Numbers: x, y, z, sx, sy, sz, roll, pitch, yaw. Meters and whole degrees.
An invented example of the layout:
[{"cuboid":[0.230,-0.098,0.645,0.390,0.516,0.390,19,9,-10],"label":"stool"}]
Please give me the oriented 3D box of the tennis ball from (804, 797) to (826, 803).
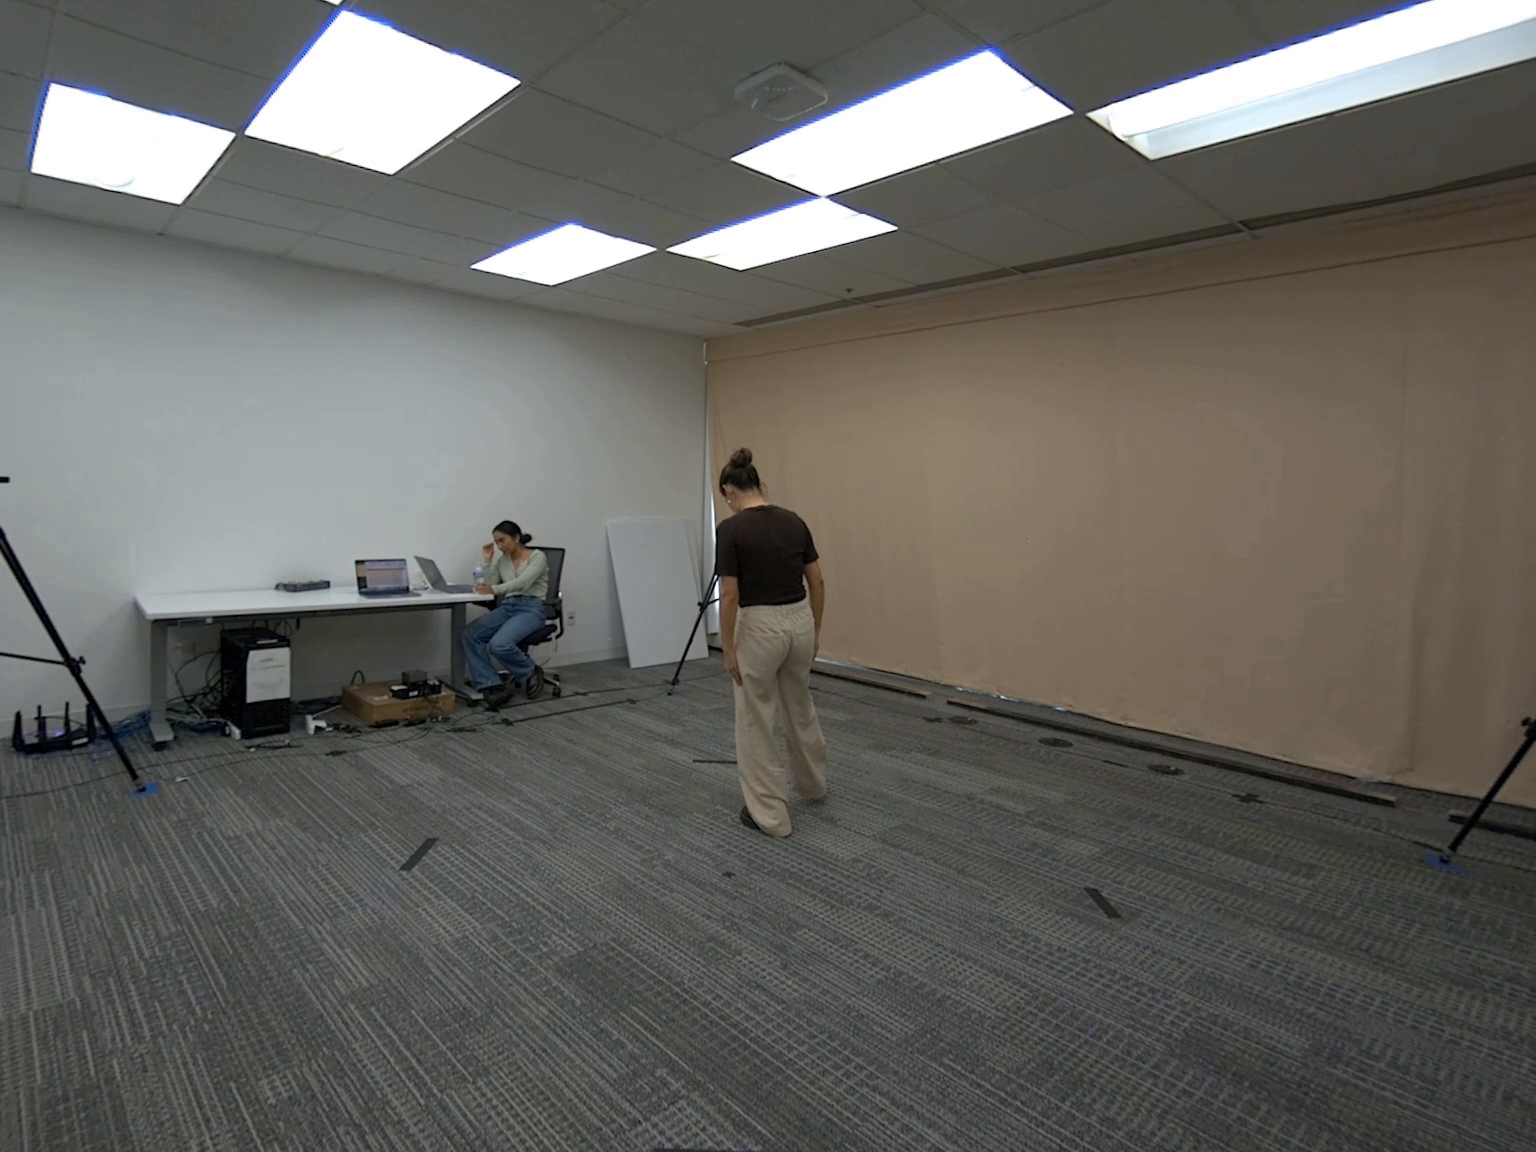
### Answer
[{"cuboid":[0.215,1.004,4.054,0.066,0.066,0.067,1,4,-1],"label":"tennis ball"}]
